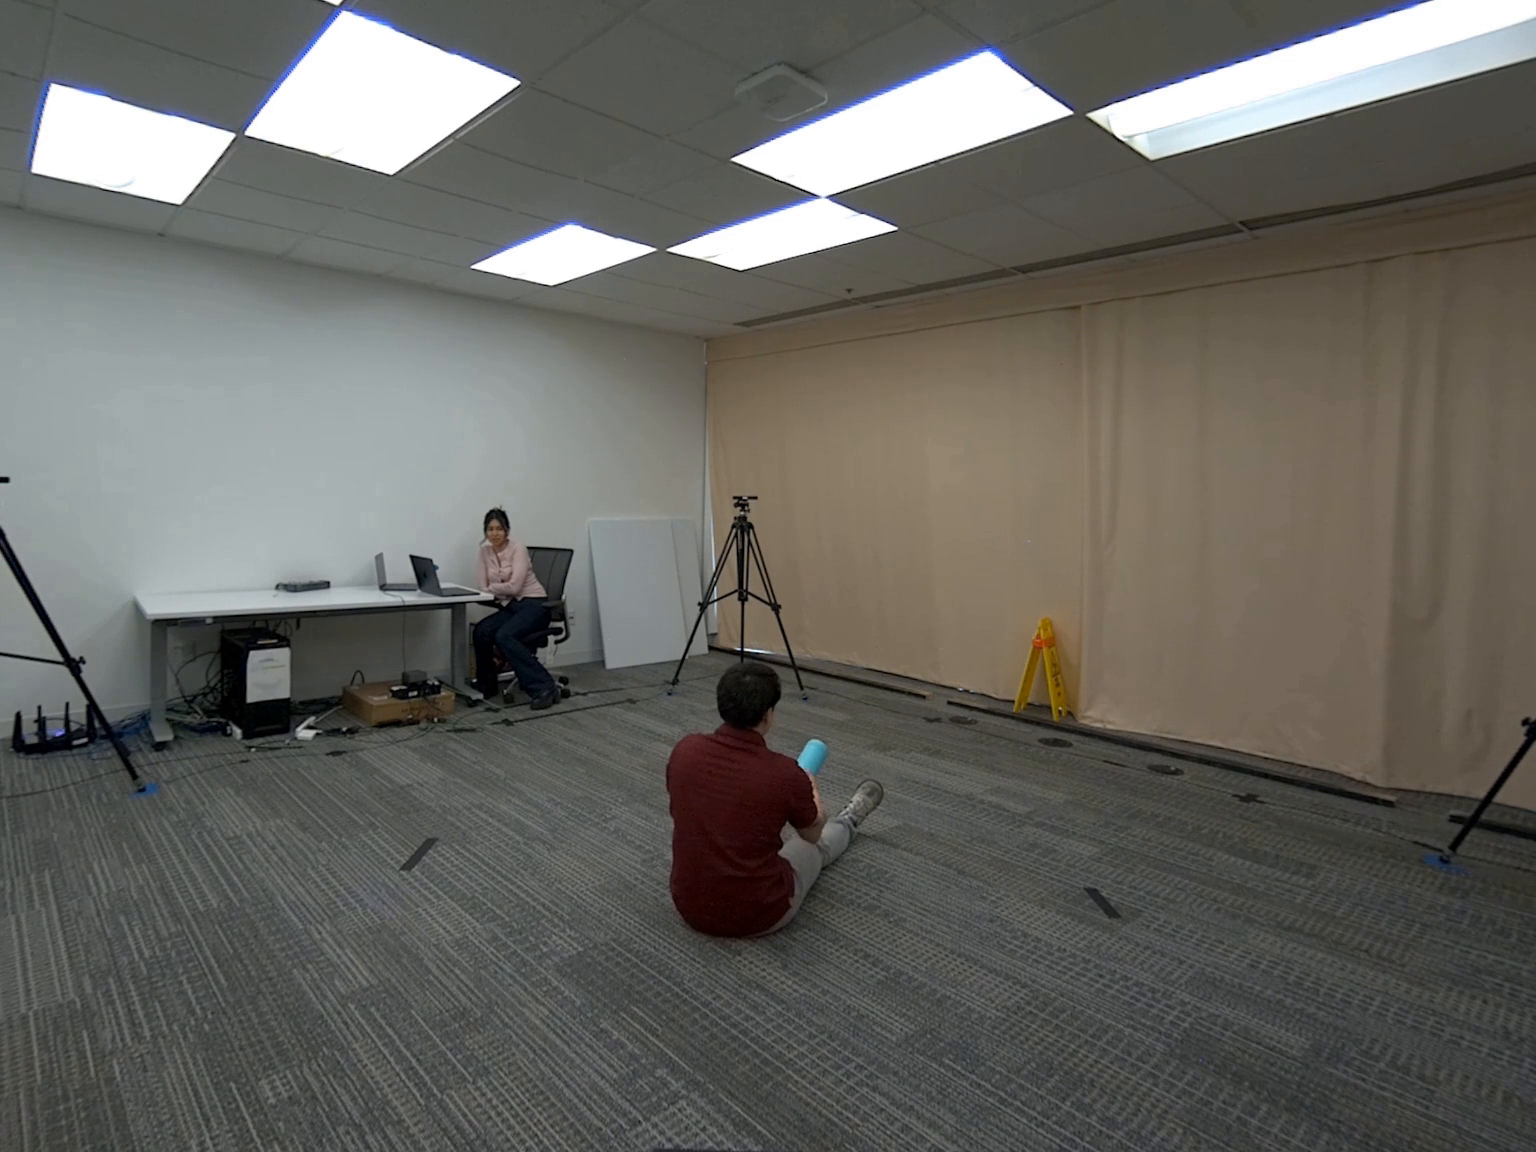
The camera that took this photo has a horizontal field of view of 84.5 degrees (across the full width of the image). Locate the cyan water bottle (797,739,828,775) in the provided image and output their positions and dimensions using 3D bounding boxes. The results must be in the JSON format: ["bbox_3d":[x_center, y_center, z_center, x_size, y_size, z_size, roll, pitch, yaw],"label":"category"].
[{"bbox_3d":[0.135,0.733,3.139,0.094,0.090,0.283,3,28,27],"label":"cyan water bottle"}]
